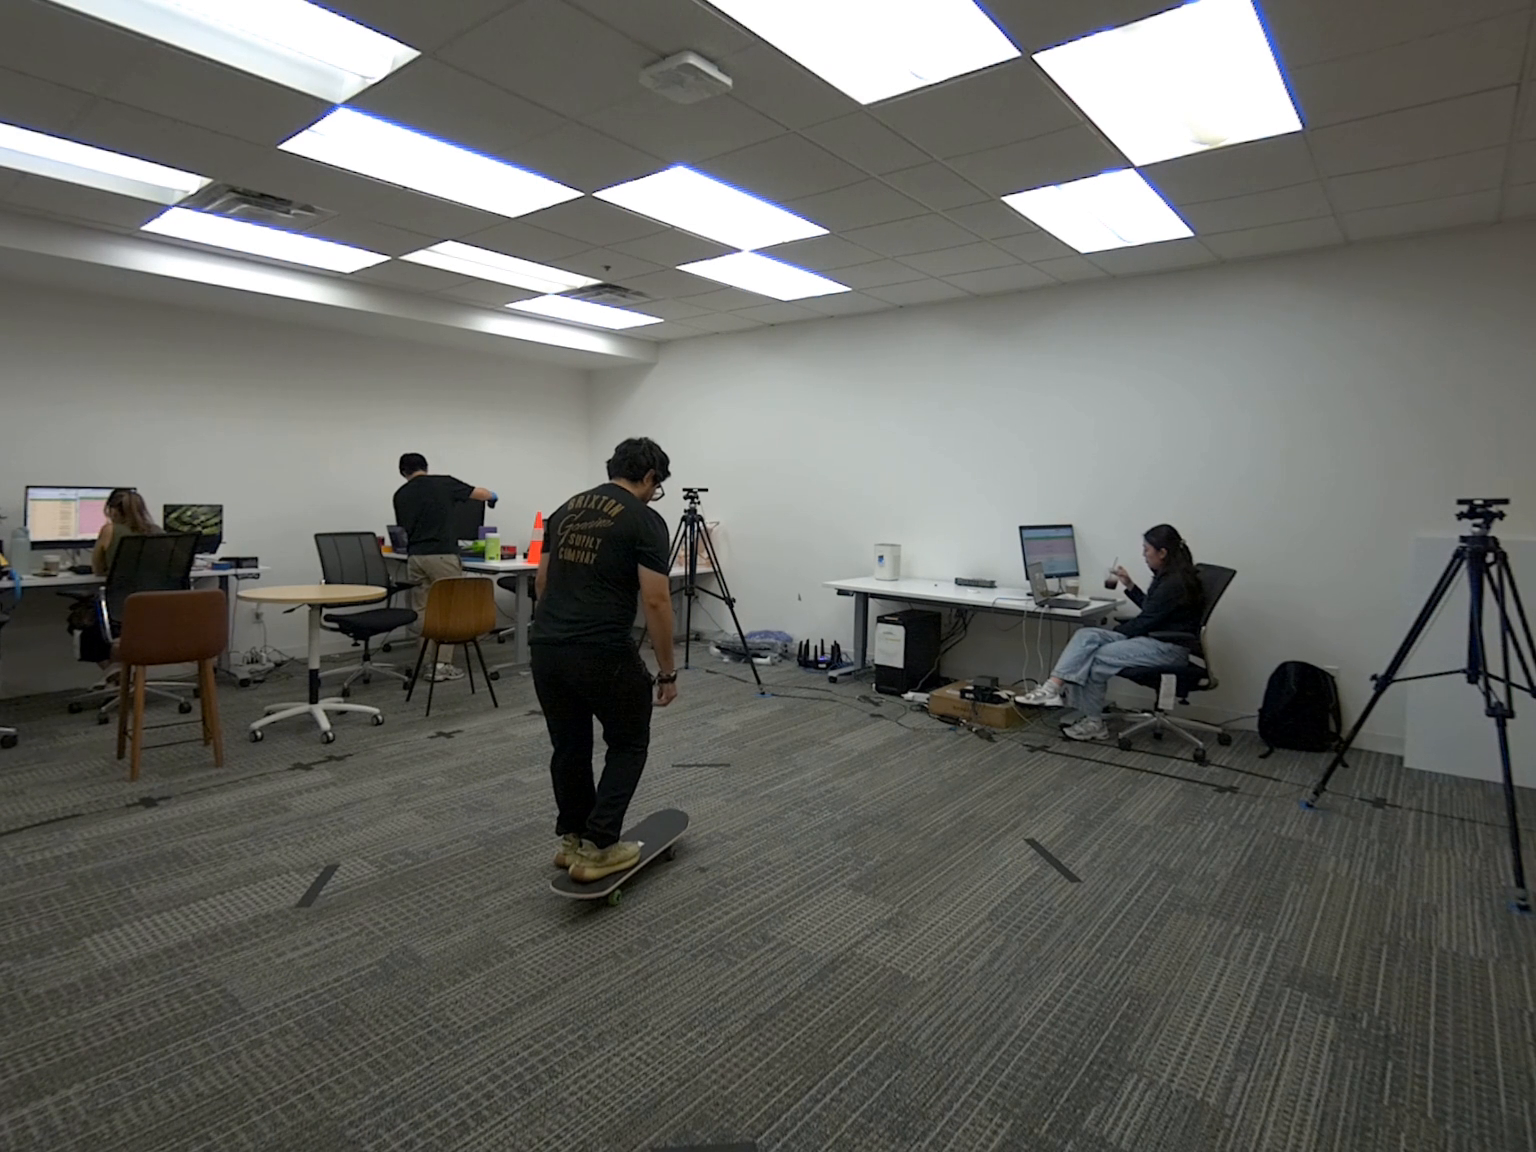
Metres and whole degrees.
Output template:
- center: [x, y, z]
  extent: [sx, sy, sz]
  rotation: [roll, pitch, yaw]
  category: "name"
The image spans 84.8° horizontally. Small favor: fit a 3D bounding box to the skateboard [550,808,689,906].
- center: [-0.519, 1.017, 3.048]
  extent: [0.198, 0.110, 0.770]
  rotation: [4, 7, 22]
  category: "skateboard"
